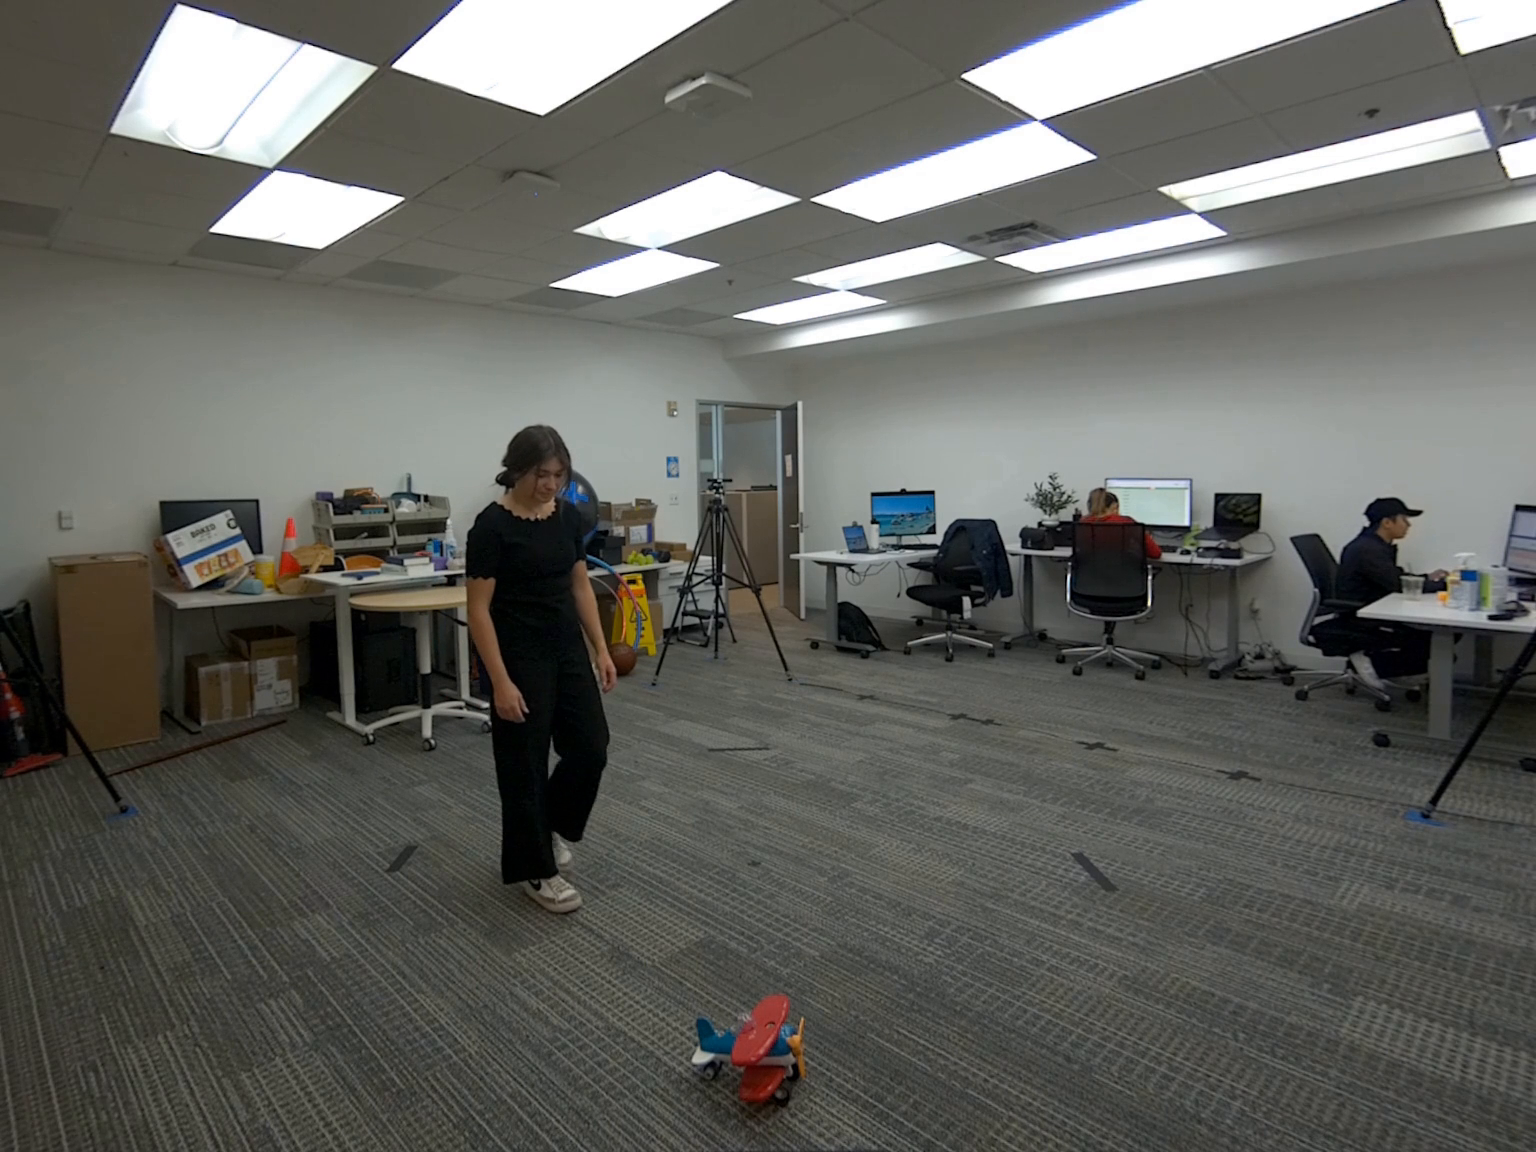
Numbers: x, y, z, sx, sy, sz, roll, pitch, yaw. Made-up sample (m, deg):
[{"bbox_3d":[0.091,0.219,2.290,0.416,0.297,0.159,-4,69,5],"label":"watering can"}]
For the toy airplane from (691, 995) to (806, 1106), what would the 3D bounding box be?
[{"bbox_3d":[-0.037,1.106,1.963,0.257,0.156,0.254,-1,6,-8],"label":"toy airplane"}]
